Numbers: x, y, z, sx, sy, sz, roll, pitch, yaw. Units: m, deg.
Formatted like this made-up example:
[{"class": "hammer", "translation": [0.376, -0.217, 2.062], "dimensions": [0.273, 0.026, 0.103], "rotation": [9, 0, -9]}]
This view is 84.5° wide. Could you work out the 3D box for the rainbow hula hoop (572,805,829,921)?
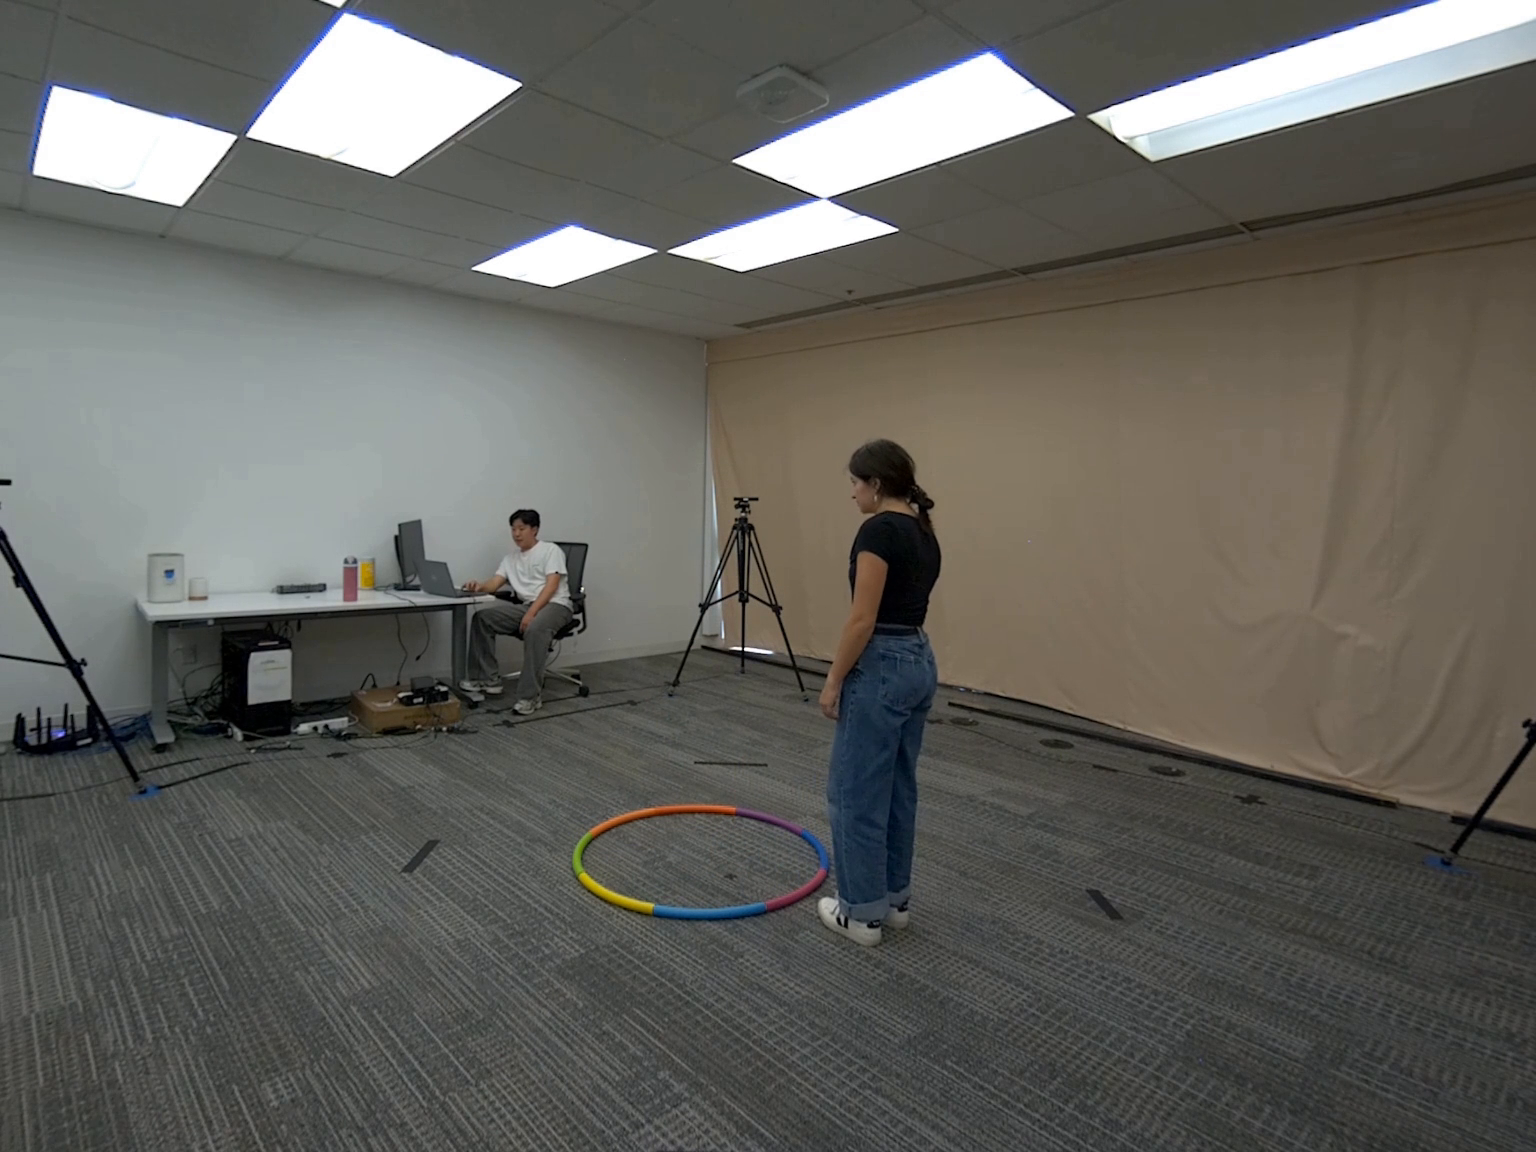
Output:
[{"class": "rainbow hula hoop", "translation": [-0.261, 1.064, 3.252], "dimensions": [0.978, 0.035, 0.982], "rotation": [1, 5, -1]}]
